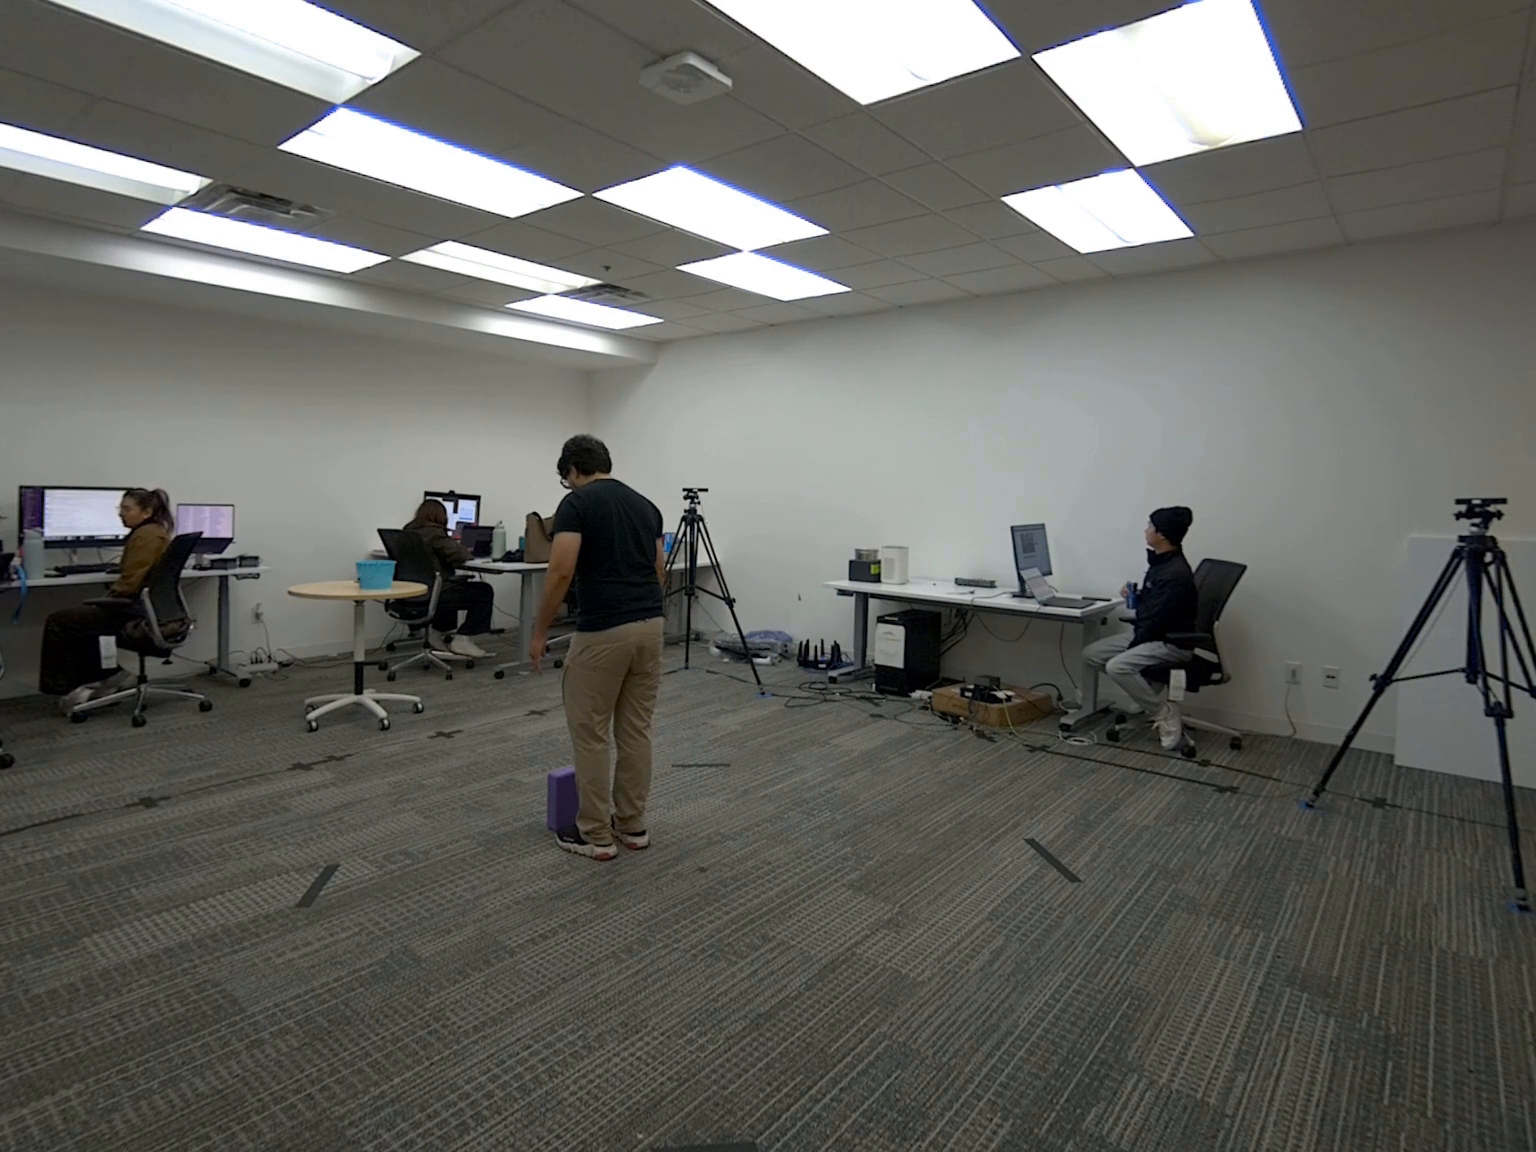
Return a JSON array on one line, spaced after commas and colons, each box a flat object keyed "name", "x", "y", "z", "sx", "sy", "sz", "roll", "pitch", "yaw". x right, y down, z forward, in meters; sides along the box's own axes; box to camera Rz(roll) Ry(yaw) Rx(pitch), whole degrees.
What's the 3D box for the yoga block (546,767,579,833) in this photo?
[{"name": "yoga block", "x": -0.839, "y": 0.905, "z": 3.487, "sx": 0.079, "sy": 0.228, "sz": 0.144, "roll": 6, "pitch": 6, "yaw": 43}]
